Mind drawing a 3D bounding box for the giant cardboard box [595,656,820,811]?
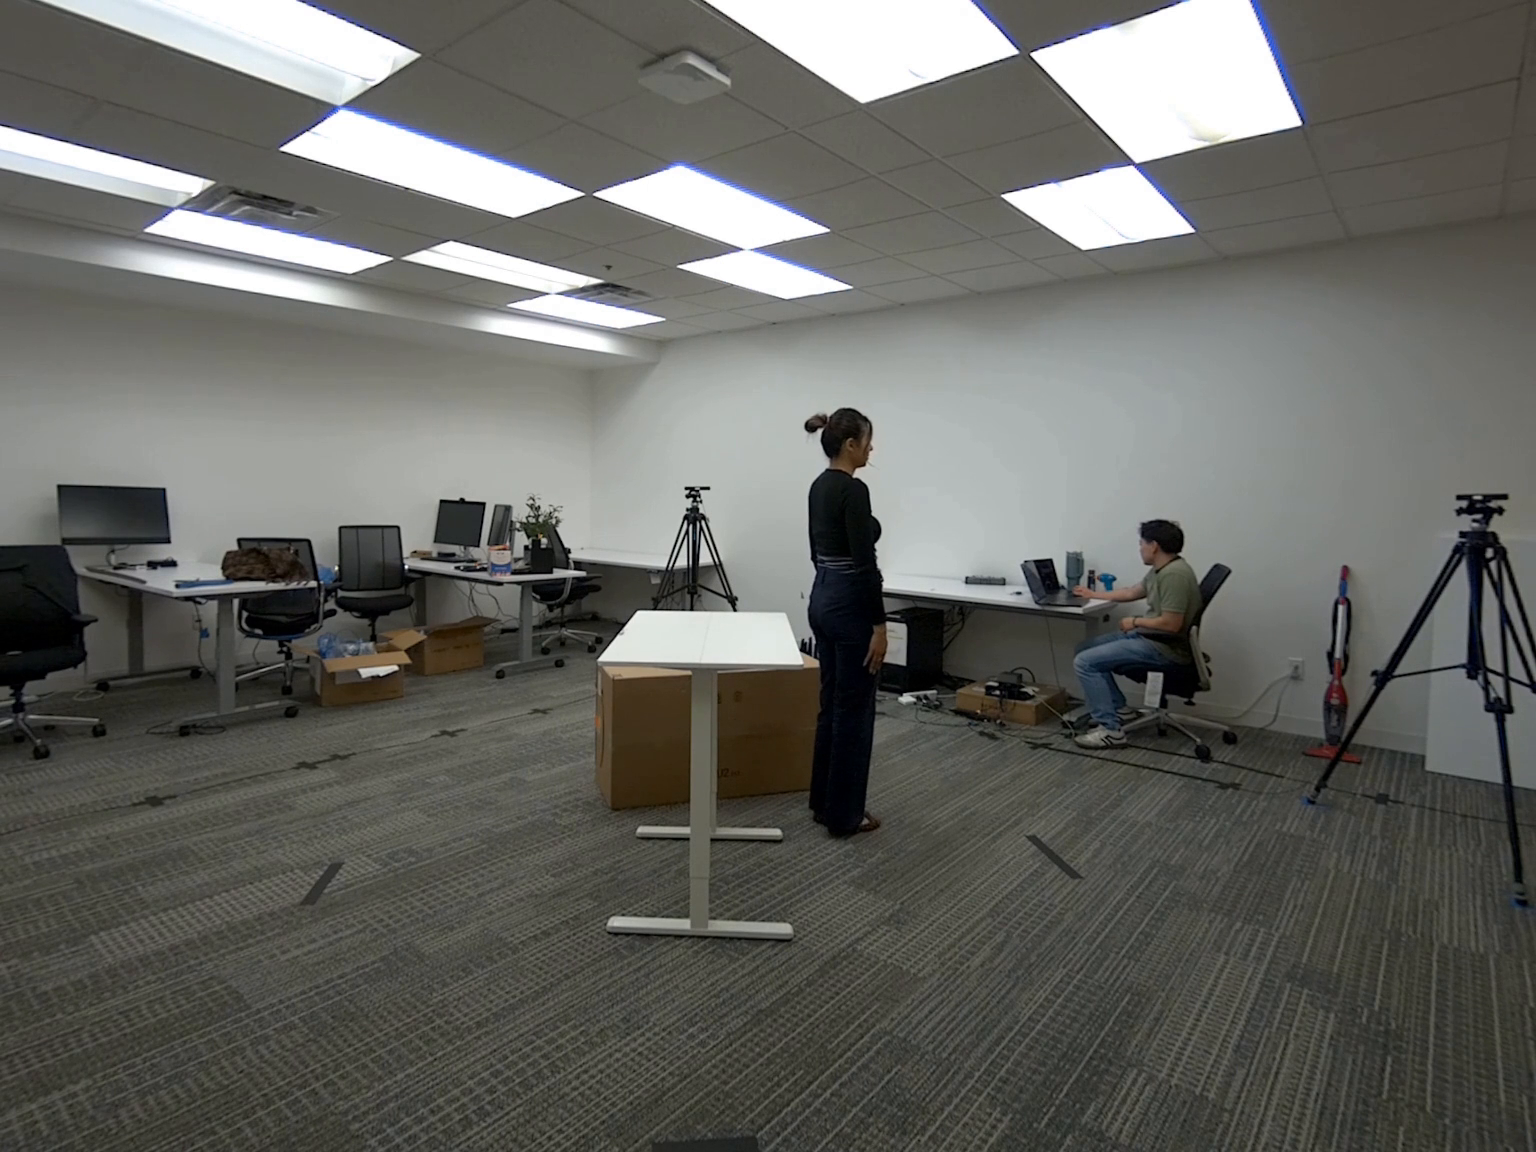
[{"bbox_3d":[-0.286,0.685,3.997,1.007,0.576,0.435,-1,4,-19],"label":"giant cardboard box"}]
